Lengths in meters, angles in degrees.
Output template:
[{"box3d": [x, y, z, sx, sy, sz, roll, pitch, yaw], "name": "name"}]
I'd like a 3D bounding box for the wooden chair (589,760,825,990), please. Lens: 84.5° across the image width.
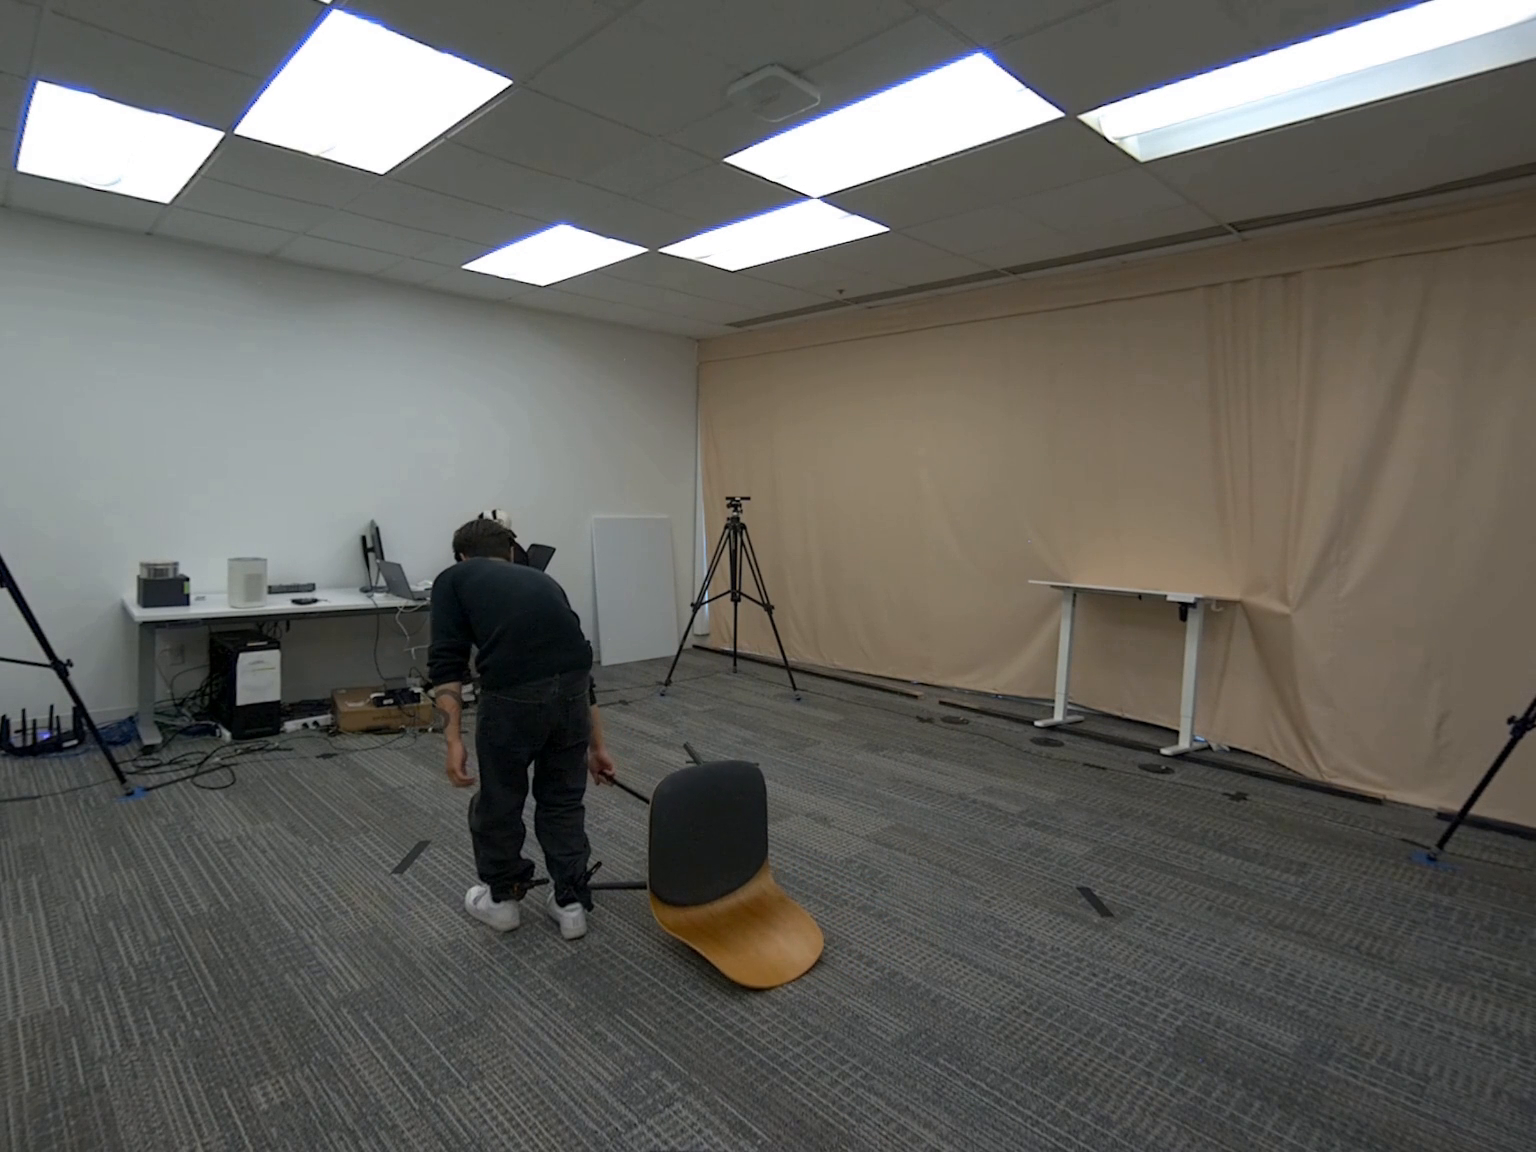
[{"box3d": [-0.221, 0.877, 2.748, 0.467, 0.521, 0.900, -2, 7, -37], "name": "wooden chair"}]
